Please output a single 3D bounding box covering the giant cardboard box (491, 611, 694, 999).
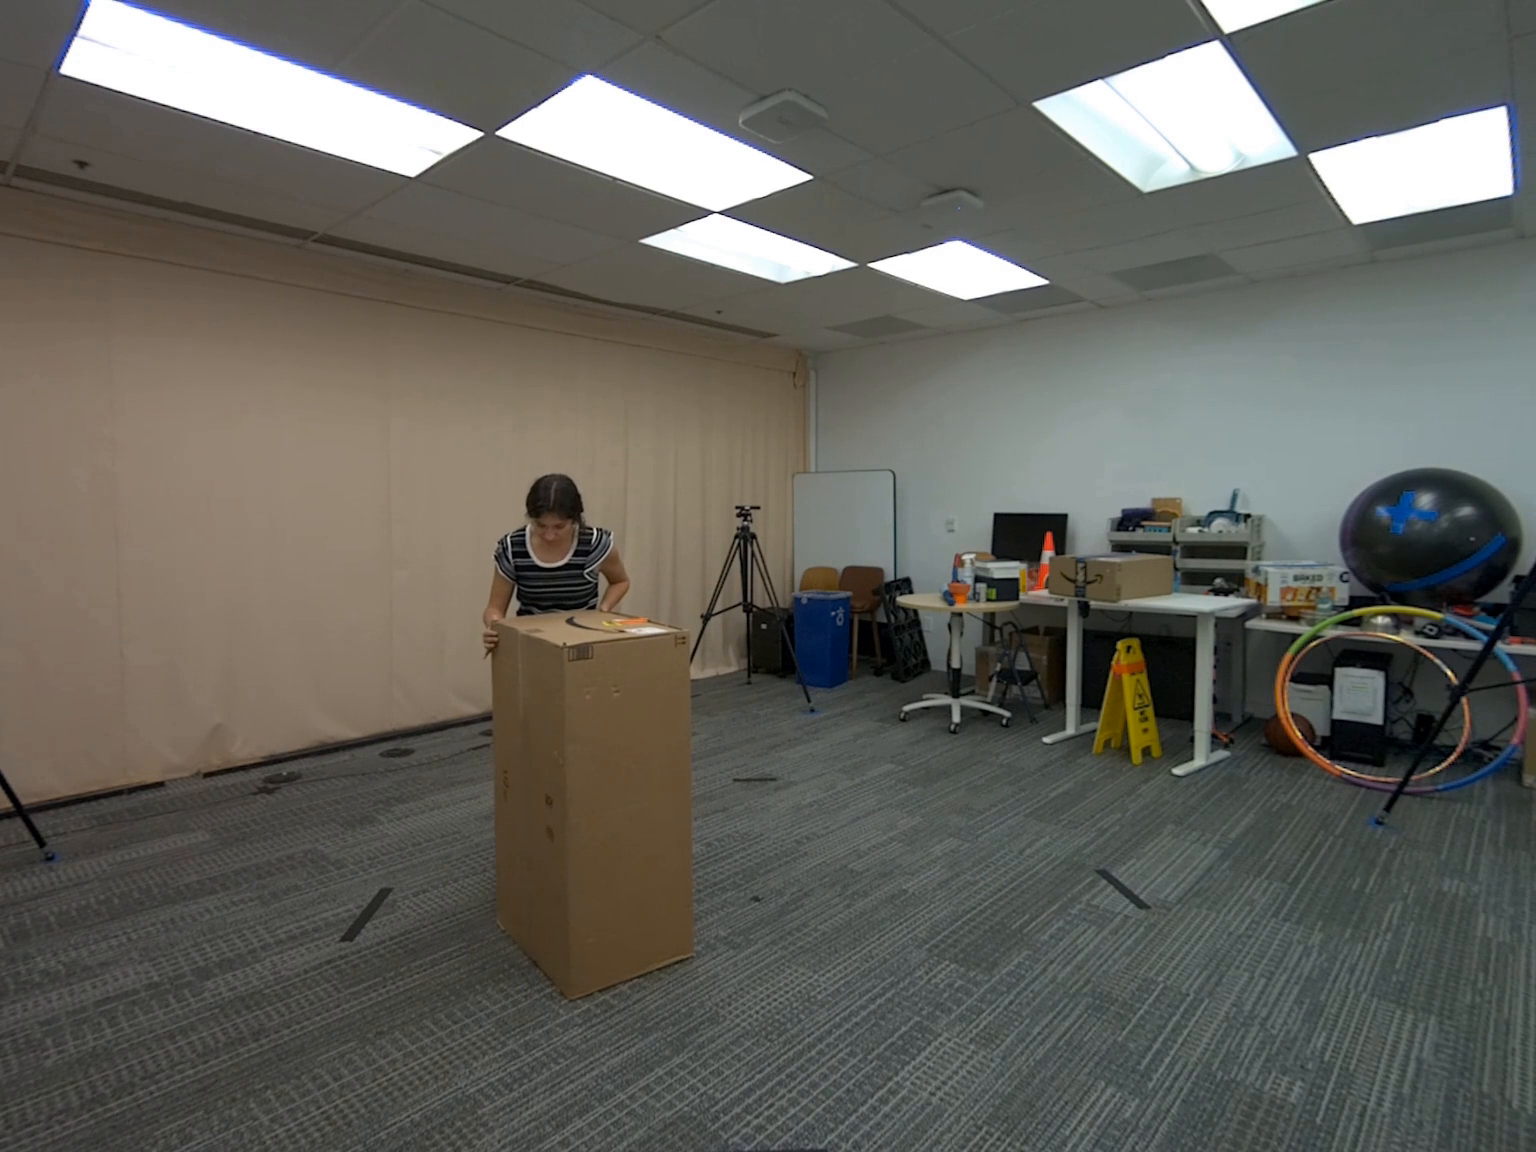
[{"bbox_3d":[-0.565,0.670,2.686,0.414,1.023,0.596,-3,4,-37],"label":"giant cardboard box"}]
